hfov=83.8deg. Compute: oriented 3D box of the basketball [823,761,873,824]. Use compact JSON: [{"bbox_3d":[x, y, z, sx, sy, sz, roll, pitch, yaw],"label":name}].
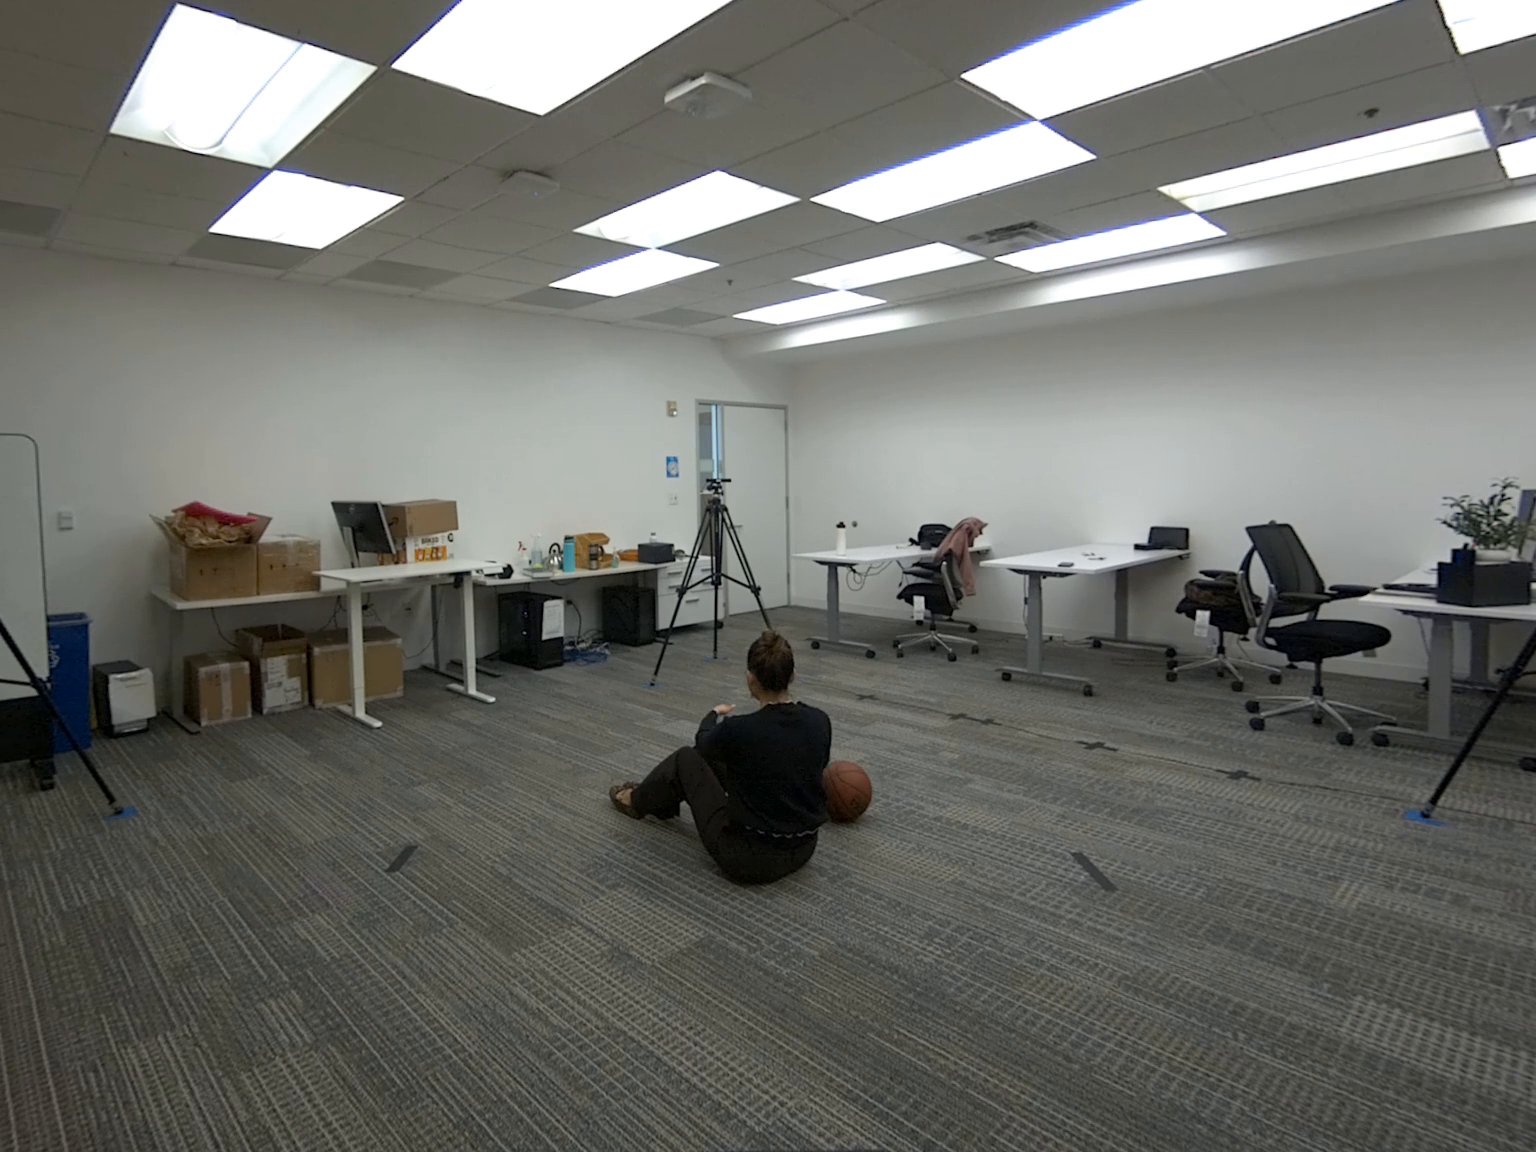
[{"bbox_3d":[0.306,0.872,3.499,0.236,0.235,0.237,-1,5,-2],"label":"basketball"}]
